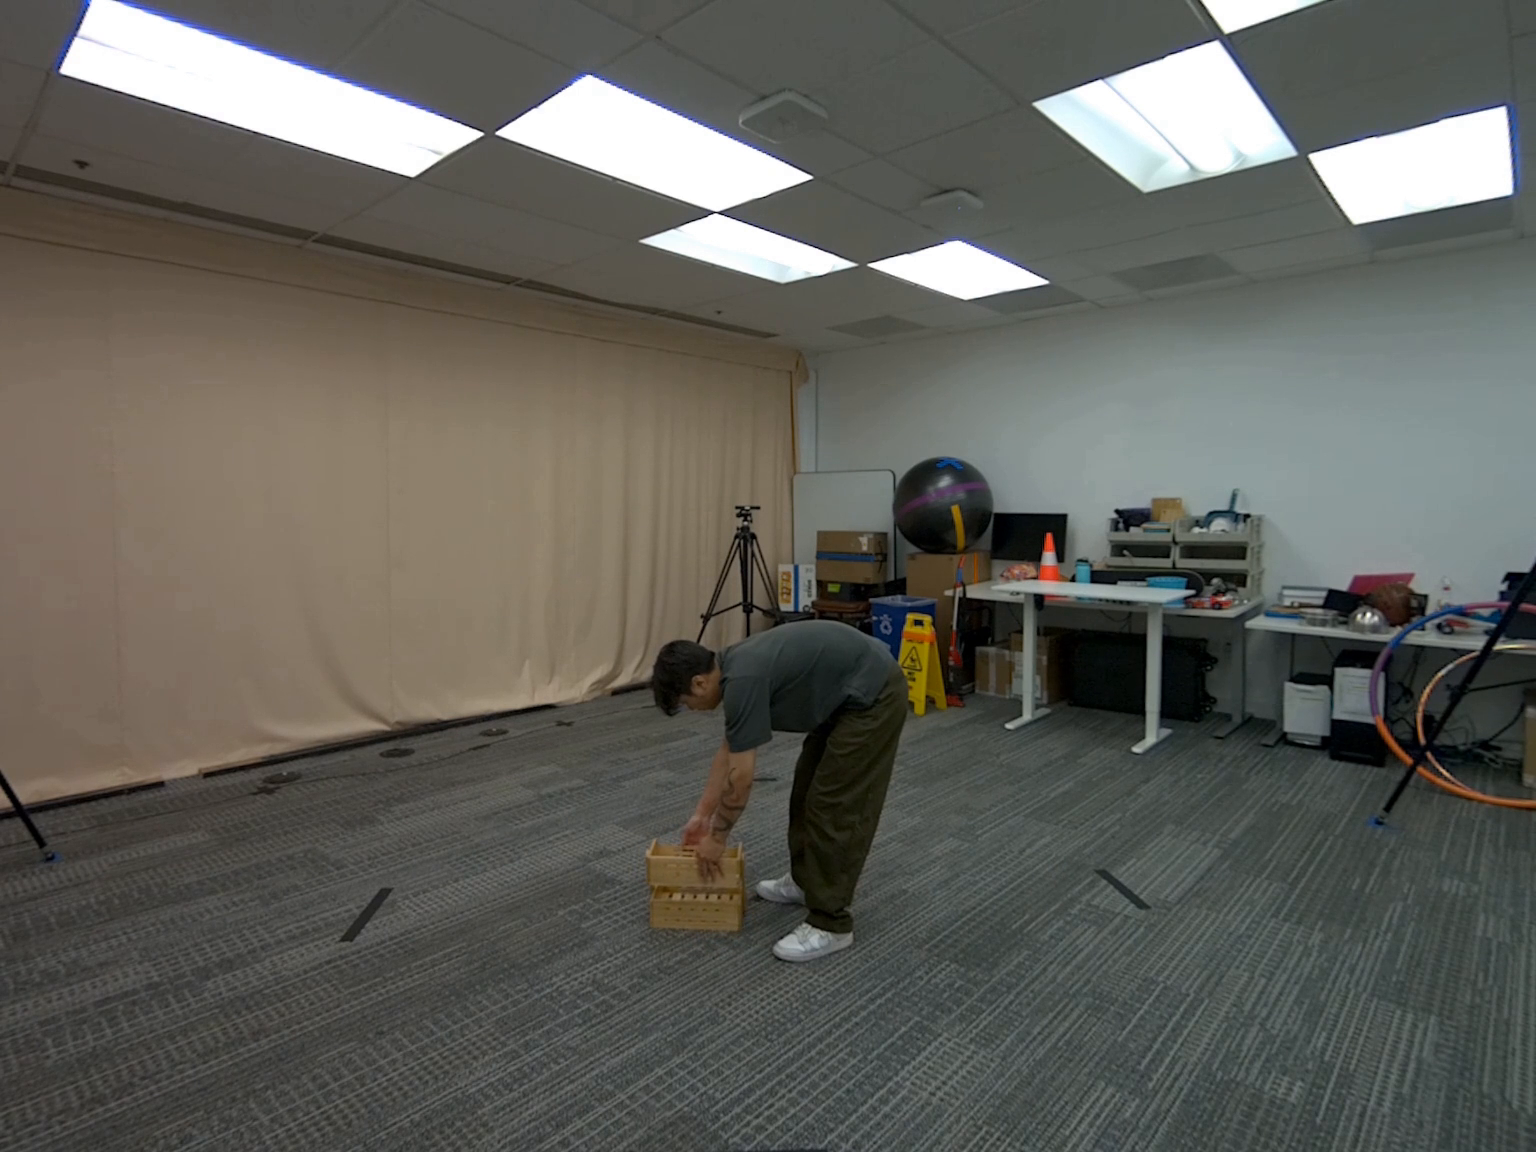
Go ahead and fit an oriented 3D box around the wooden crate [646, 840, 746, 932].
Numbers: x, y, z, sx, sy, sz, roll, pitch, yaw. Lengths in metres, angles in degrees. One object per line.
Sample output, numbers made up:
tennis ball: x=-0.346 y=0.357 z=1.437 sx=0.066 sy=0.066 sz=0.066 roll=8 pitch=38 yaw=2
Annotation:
wooden crate: x=-0.236 y=1.020 z=2.862 sx=0.325 sy=0.273 sz=0.302 roll=0 pitch=4 yaw=2
